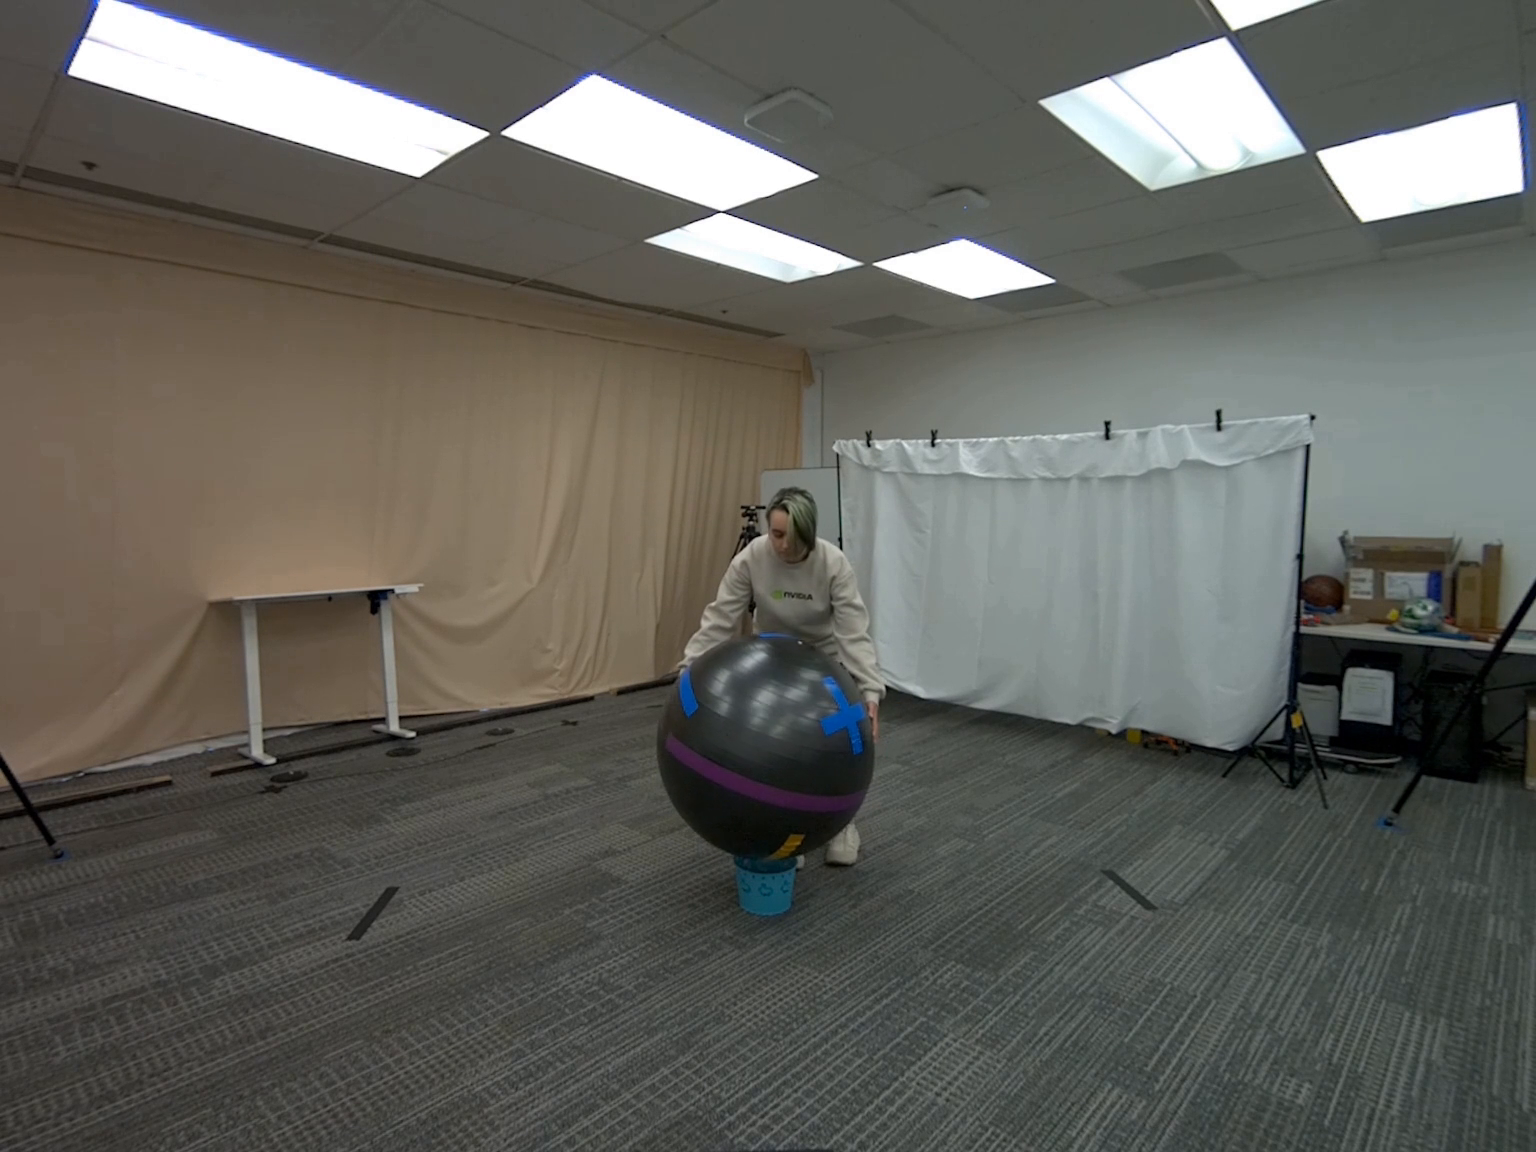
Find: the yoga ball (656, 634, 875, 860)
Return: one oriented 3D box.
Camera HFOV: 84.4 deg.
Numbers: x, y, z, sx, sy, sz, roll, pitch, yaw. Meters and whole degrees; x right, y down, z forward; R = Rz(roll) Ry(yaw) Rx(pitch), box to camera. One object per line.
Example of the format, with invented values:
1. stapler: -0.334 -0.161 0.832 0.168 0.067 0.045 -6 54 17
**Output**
1. yoga ball: -0.005 0.581 2.919 0.757 0.756 0.760 0 4 -2
